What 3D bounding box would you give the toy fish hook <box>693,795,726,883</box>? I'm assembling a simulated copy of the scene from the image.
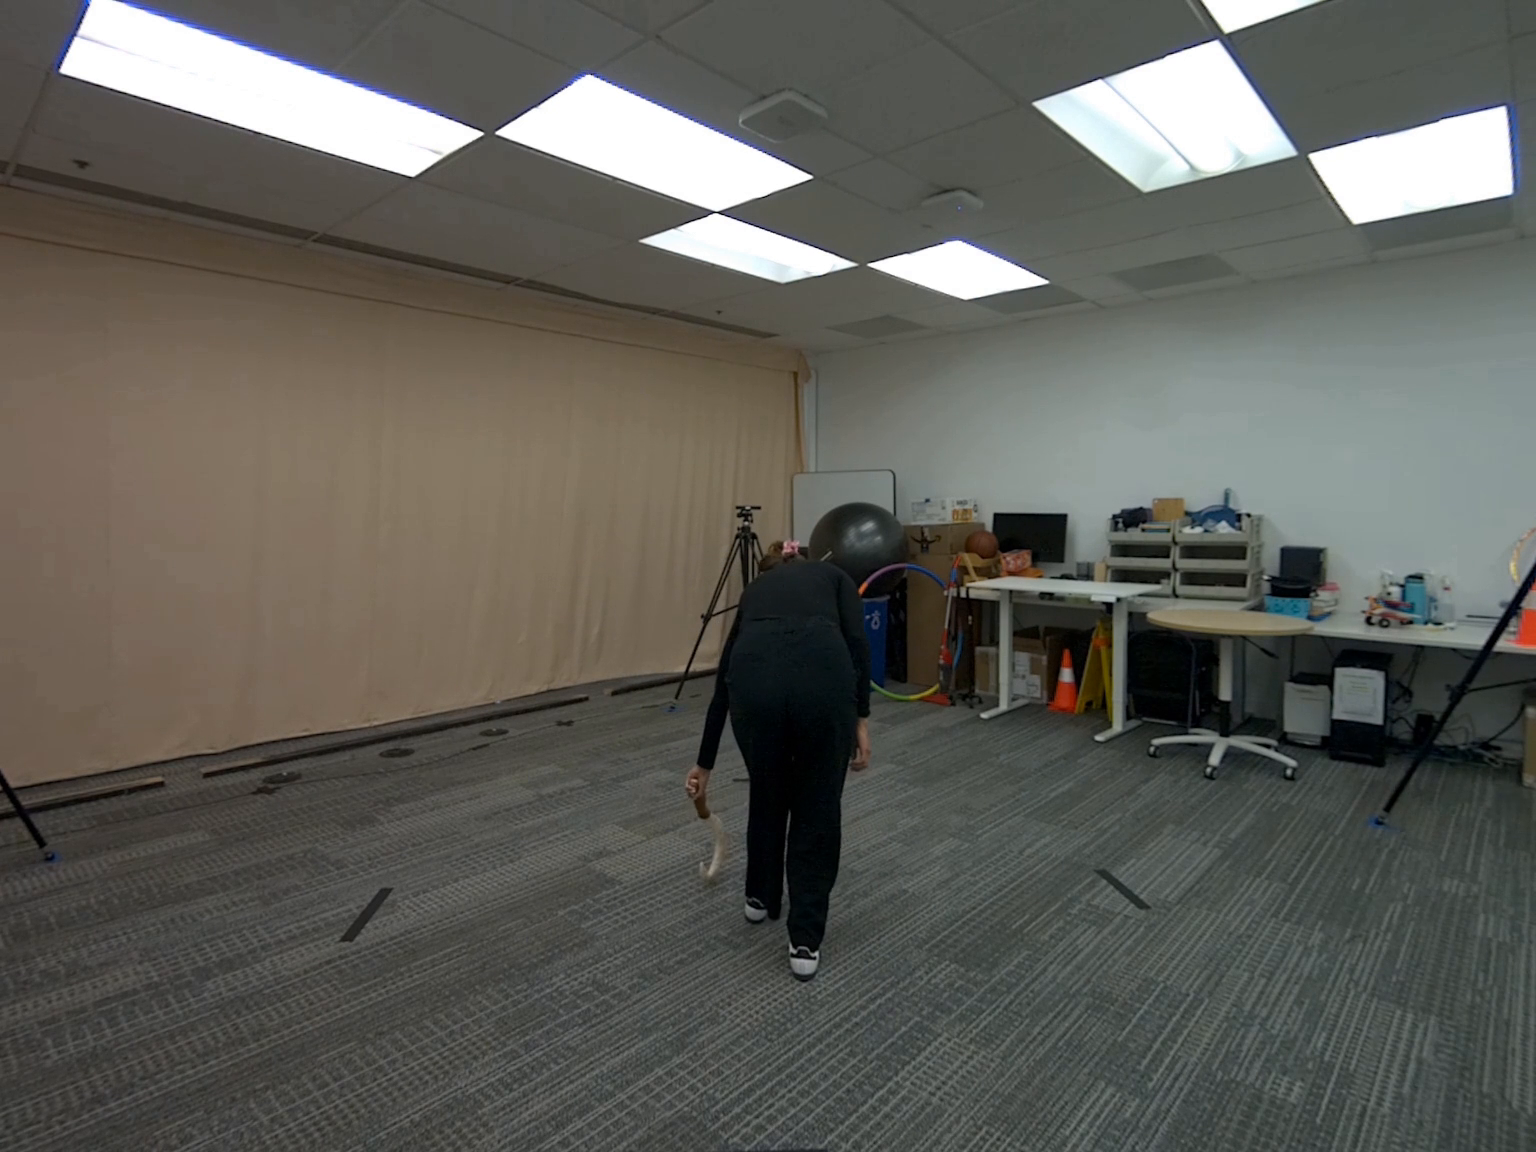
[{"bbox_3d":[-0.224,0.921,3.018,0.049,0.493,0.226,-1,43,15],"label":"toy fish hook"}]
